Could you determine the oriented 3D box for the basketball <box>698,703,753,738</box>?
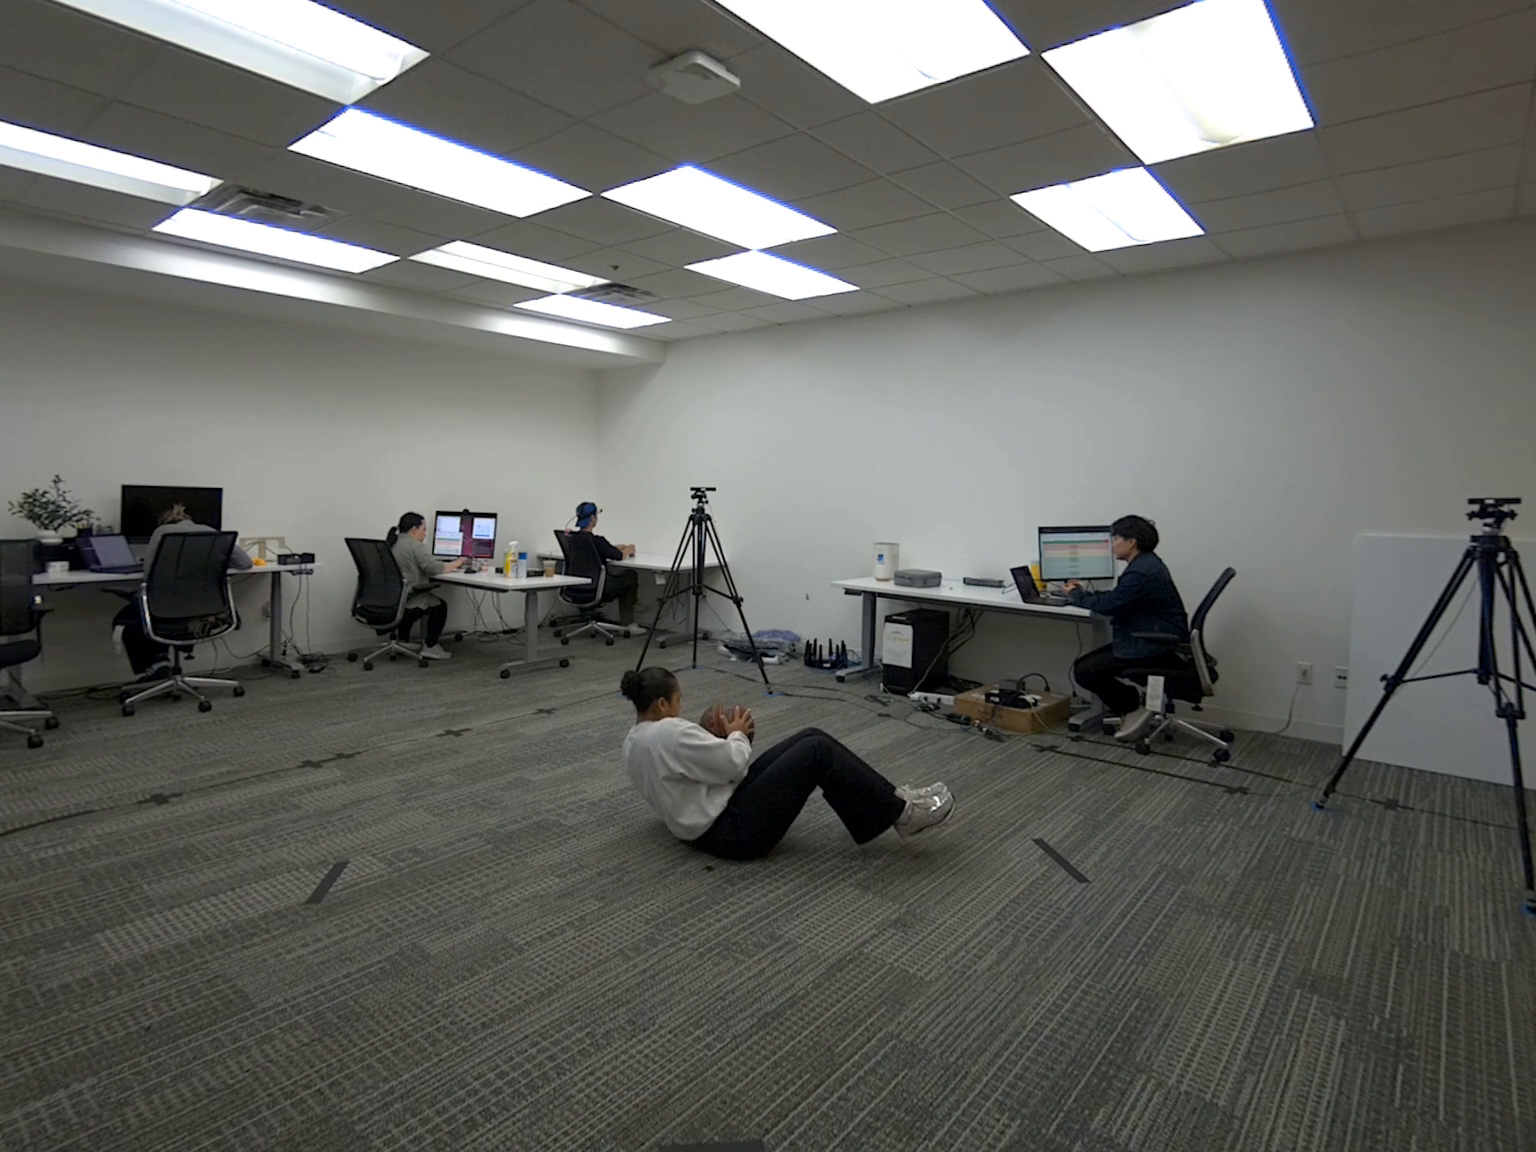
[{"bbox_3d":[-0.192,0.651,3.572,0.235,0.235,0.237,1,4,-2],"label":"basketball"}]
